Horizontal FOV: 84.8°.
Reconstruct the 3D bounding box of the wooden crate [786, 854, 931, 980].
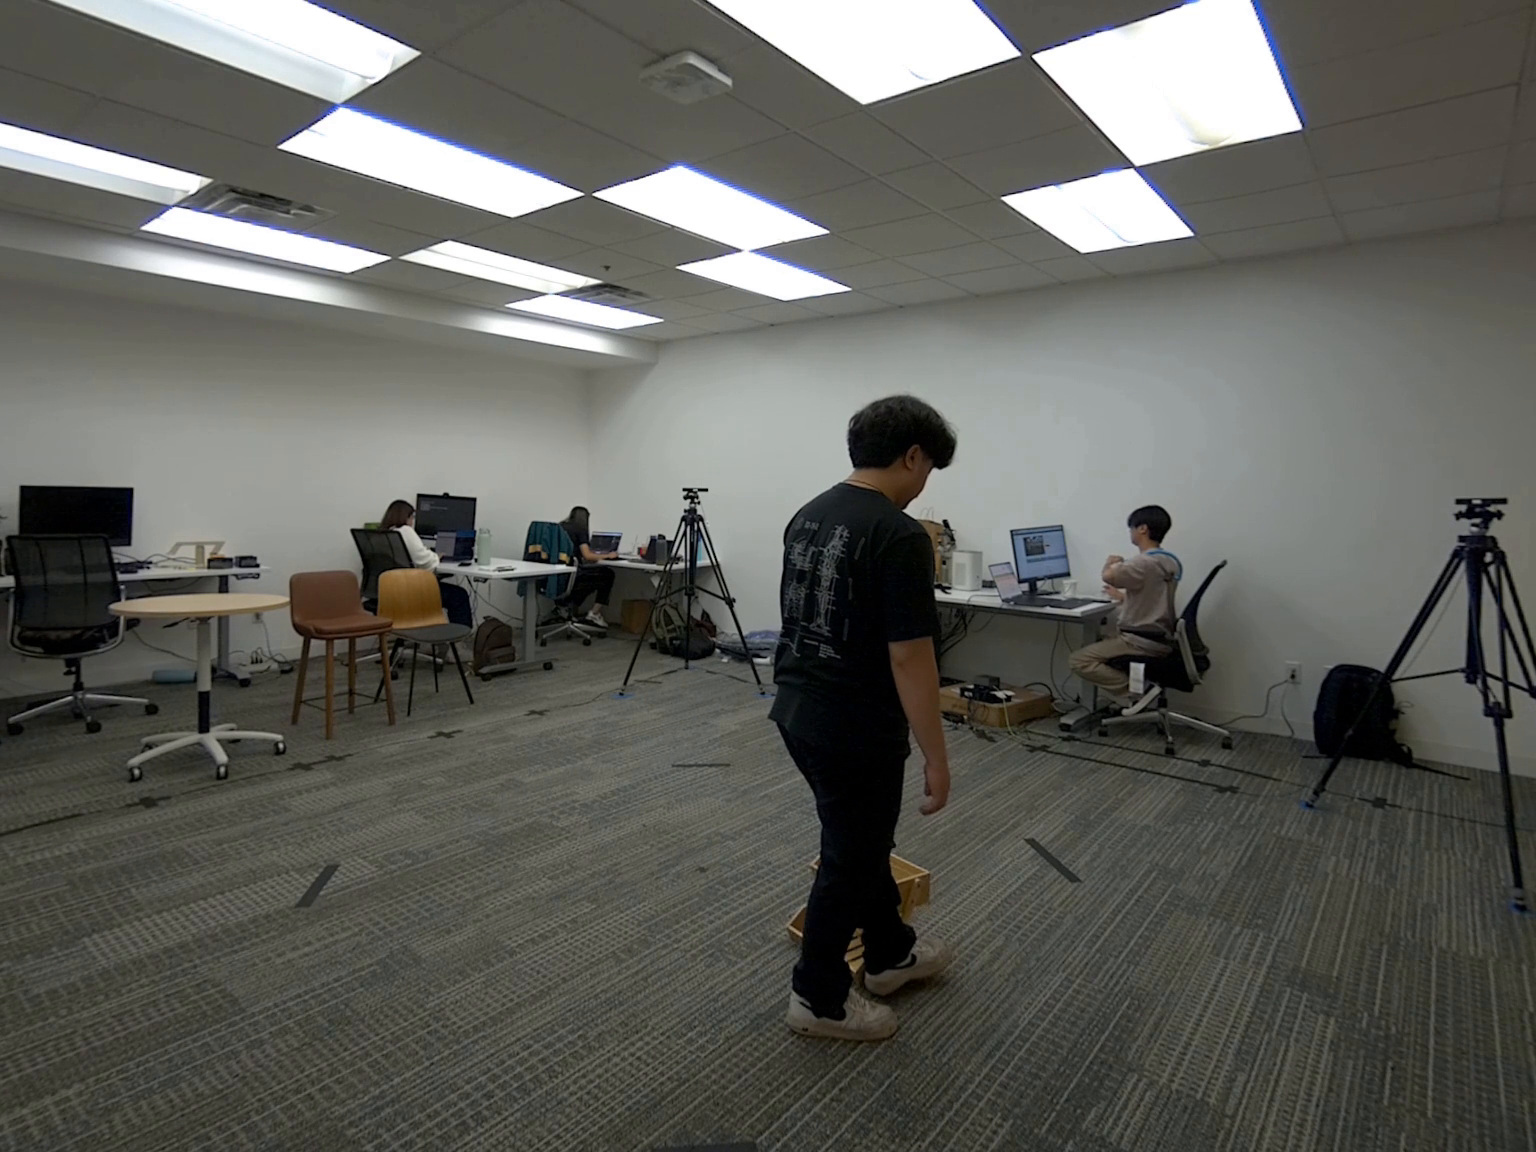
[{"bbox_3d":[0.264,0.993,2.585,0.293,0.272,0.335,0,5,-38],"label":"wooden crate"}]
